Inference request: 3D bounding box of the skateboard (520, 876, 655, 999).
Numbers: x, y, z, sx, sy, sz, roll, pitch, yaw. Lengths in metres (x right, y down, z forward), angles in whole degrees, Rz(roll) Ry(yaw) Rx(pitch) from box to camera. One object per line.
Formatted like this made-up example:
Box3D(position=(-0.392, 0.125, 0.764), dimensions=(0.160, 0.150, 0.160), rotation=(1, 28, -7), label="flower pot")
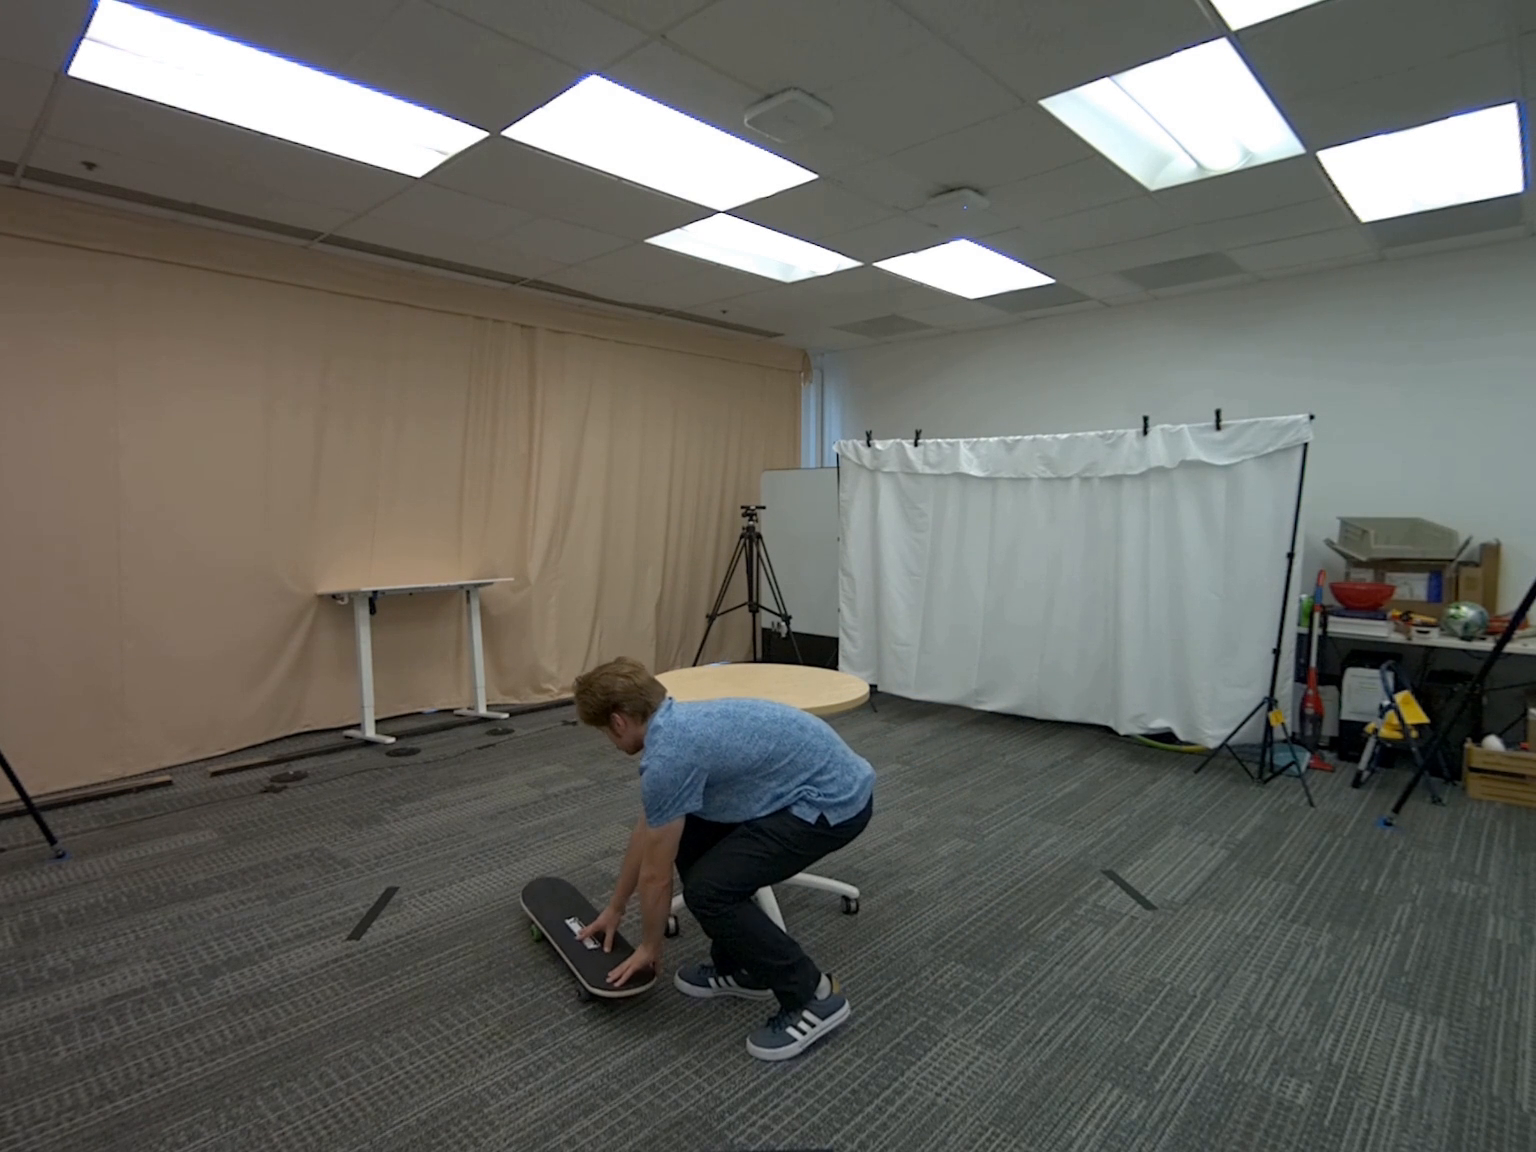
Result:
Box3D(position=(-0.567, 1.129, 2.577), dimensions=(0.188, 0.110, 0.810), rotation=(-4, 6, -33), label="skateboard")
